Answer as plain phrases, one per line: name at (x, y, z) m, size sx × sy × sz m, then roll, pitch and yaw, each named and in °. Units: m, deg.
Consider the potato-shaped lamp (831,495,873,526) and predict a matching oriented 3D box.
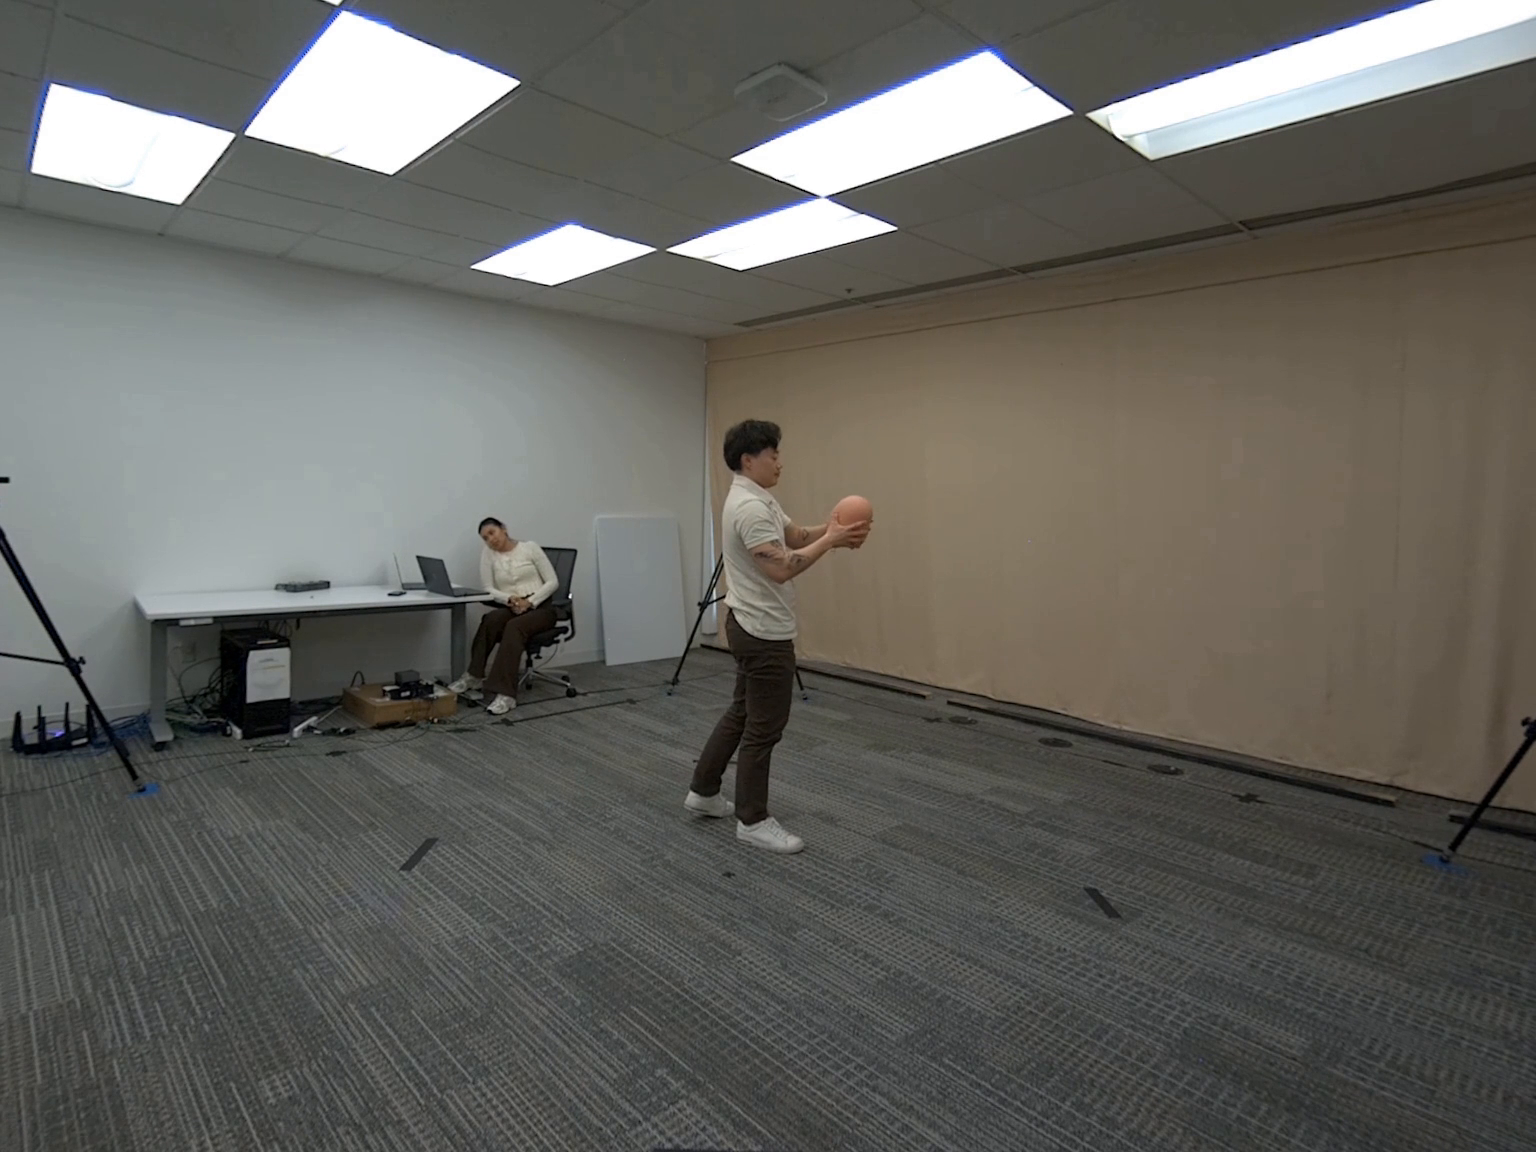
potato-shaped lamp at (0.310, -0.220, 3.285) m, size 0.167 × 0.196 × 0.170 m, roll 1°, pitch 35°, yaw -40°
